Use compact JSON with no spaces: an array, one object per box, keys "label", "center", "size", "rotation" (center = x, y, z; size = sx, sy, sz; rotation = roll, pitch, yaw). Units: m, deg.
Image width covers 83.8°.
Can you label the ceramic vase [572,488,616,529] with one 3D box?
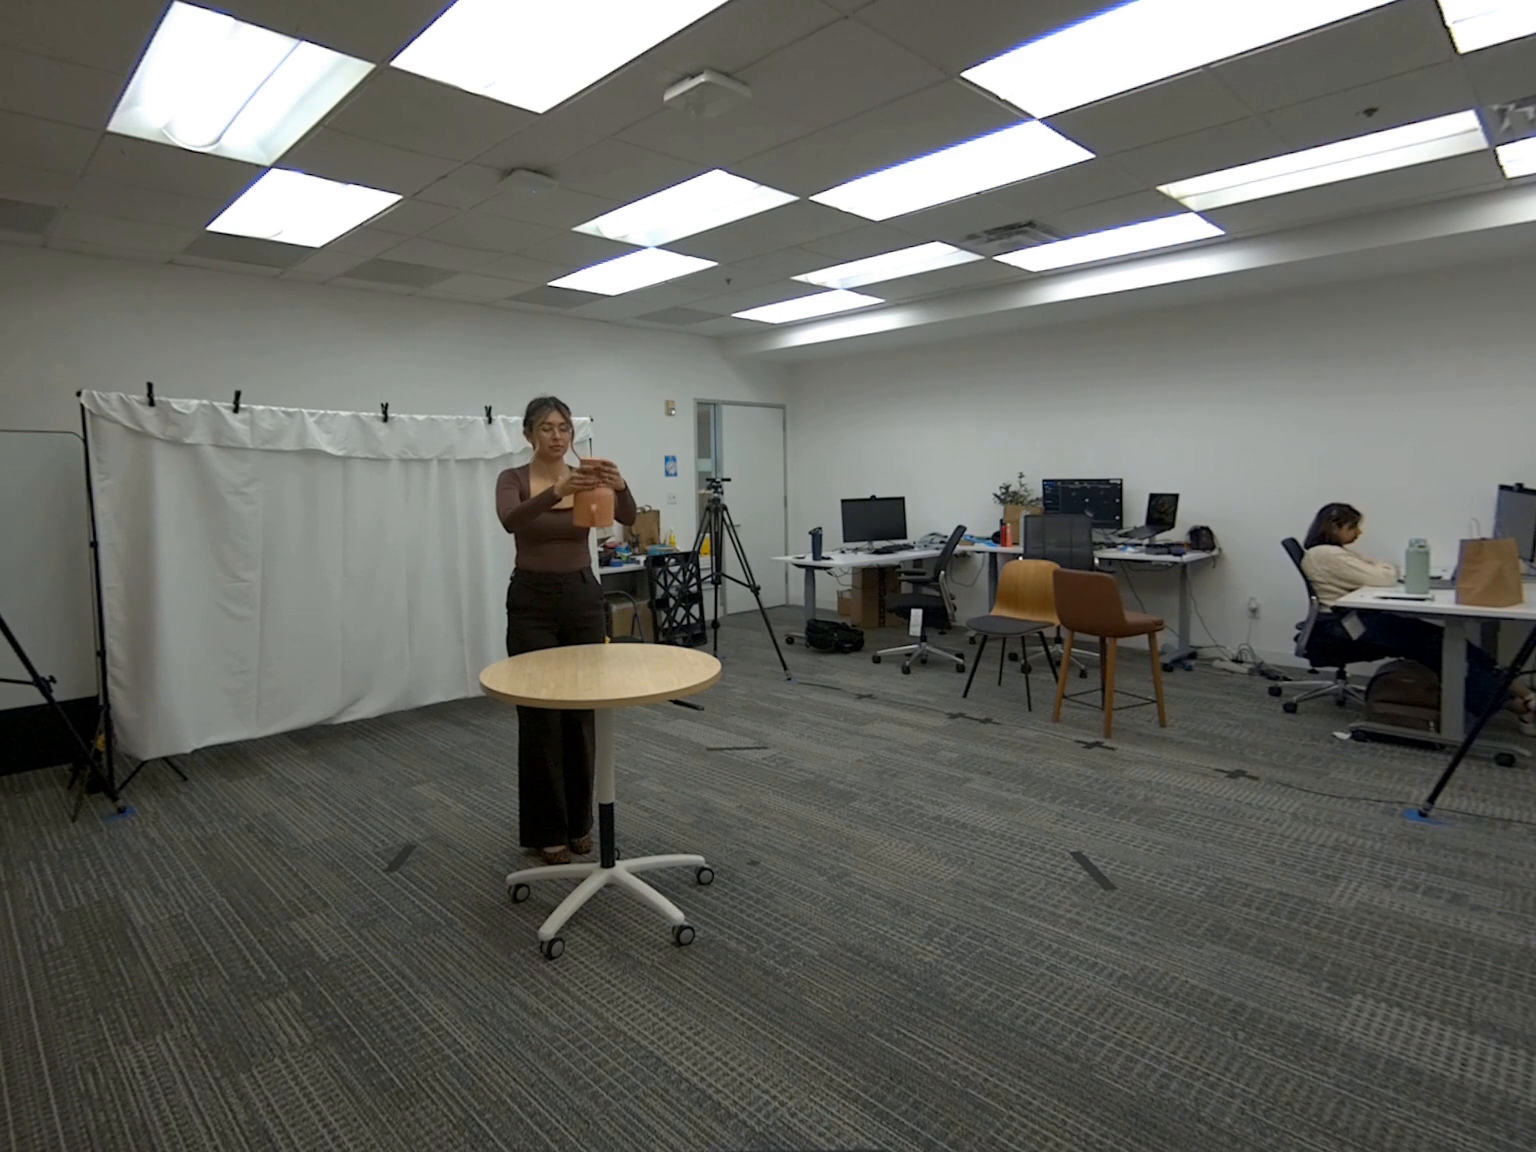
[{"label":"ceramic vase","center":[-0.577,-0.276,2.822],"size":[0.164,0.218,0.131],"rotation":[9,10,39]}]
